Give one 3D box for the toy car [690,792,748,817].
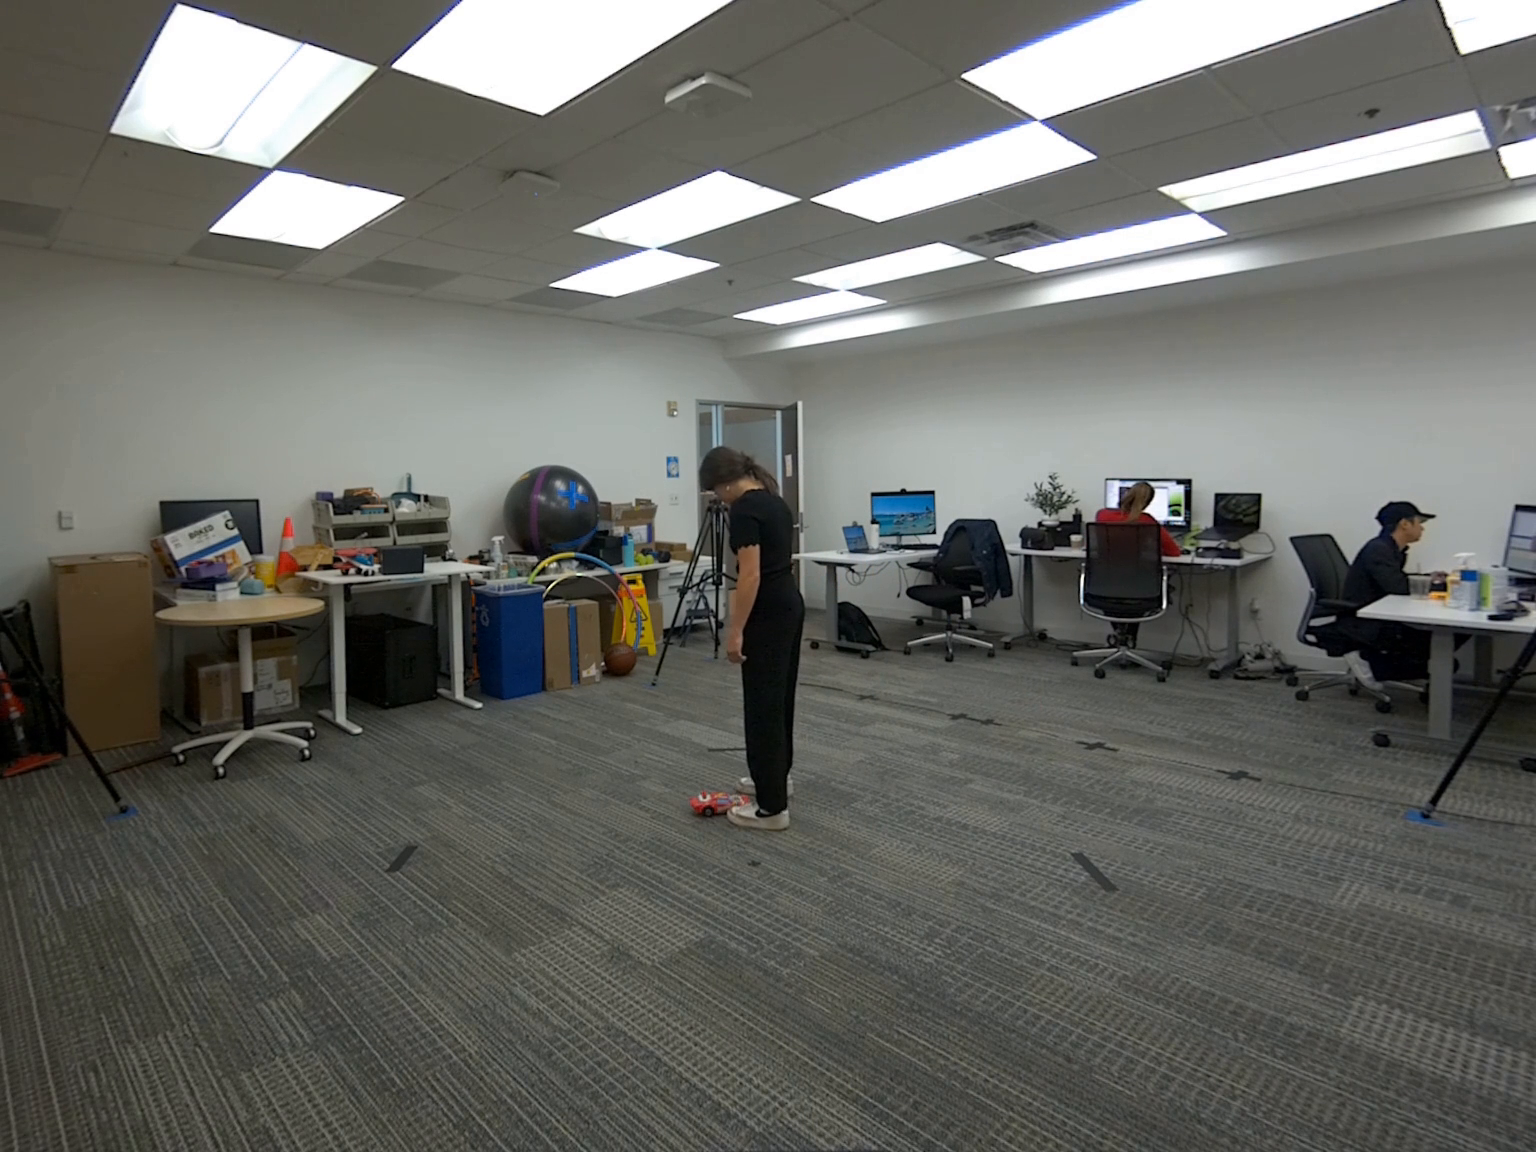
[{"bbox_3d":[-0.206,0.960,3.594,0.252,0.083,0.132,10,3,-8],"label":"toy car"}]
